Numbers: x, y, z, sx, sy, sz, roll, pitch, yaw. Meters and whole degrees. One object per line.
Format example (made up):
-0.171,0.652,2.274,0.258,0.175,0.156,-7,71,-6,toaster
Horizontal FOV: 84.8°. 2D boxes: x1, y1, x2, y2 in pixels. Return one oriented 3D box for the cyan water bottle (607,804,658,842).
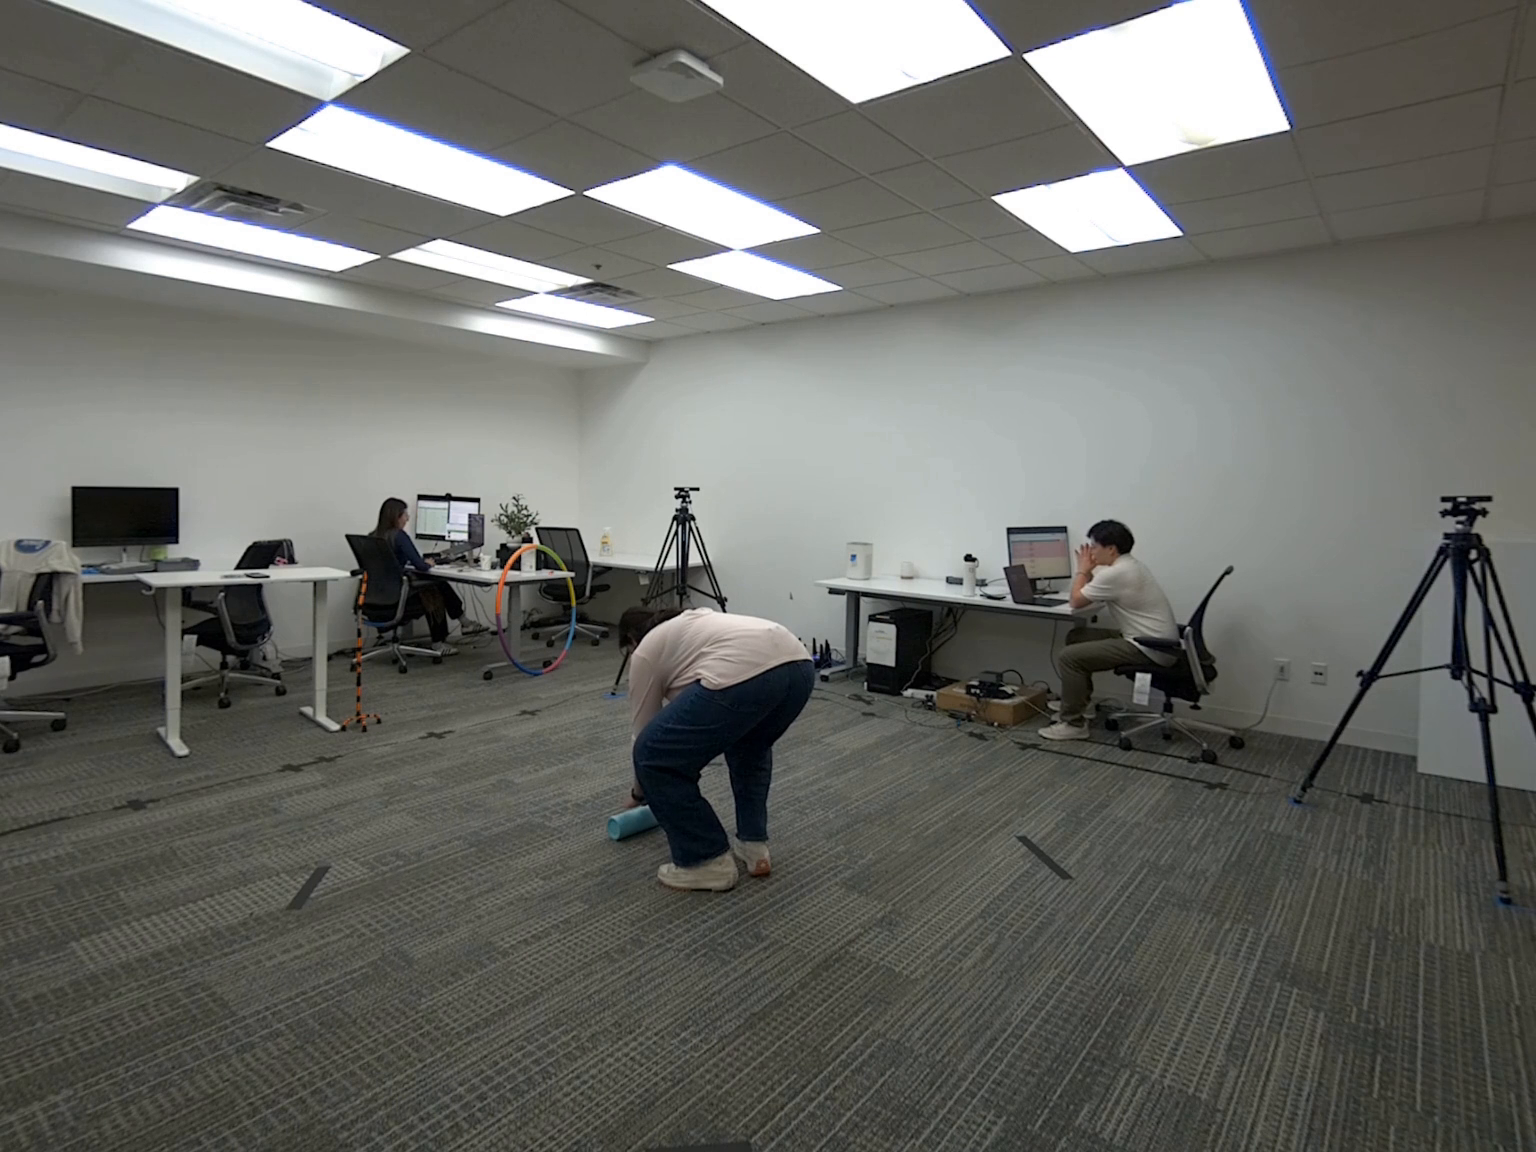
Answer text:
-0.532,0.980,3.446,0.095,0.092,0.275,4,6,41,cyan water bottle
